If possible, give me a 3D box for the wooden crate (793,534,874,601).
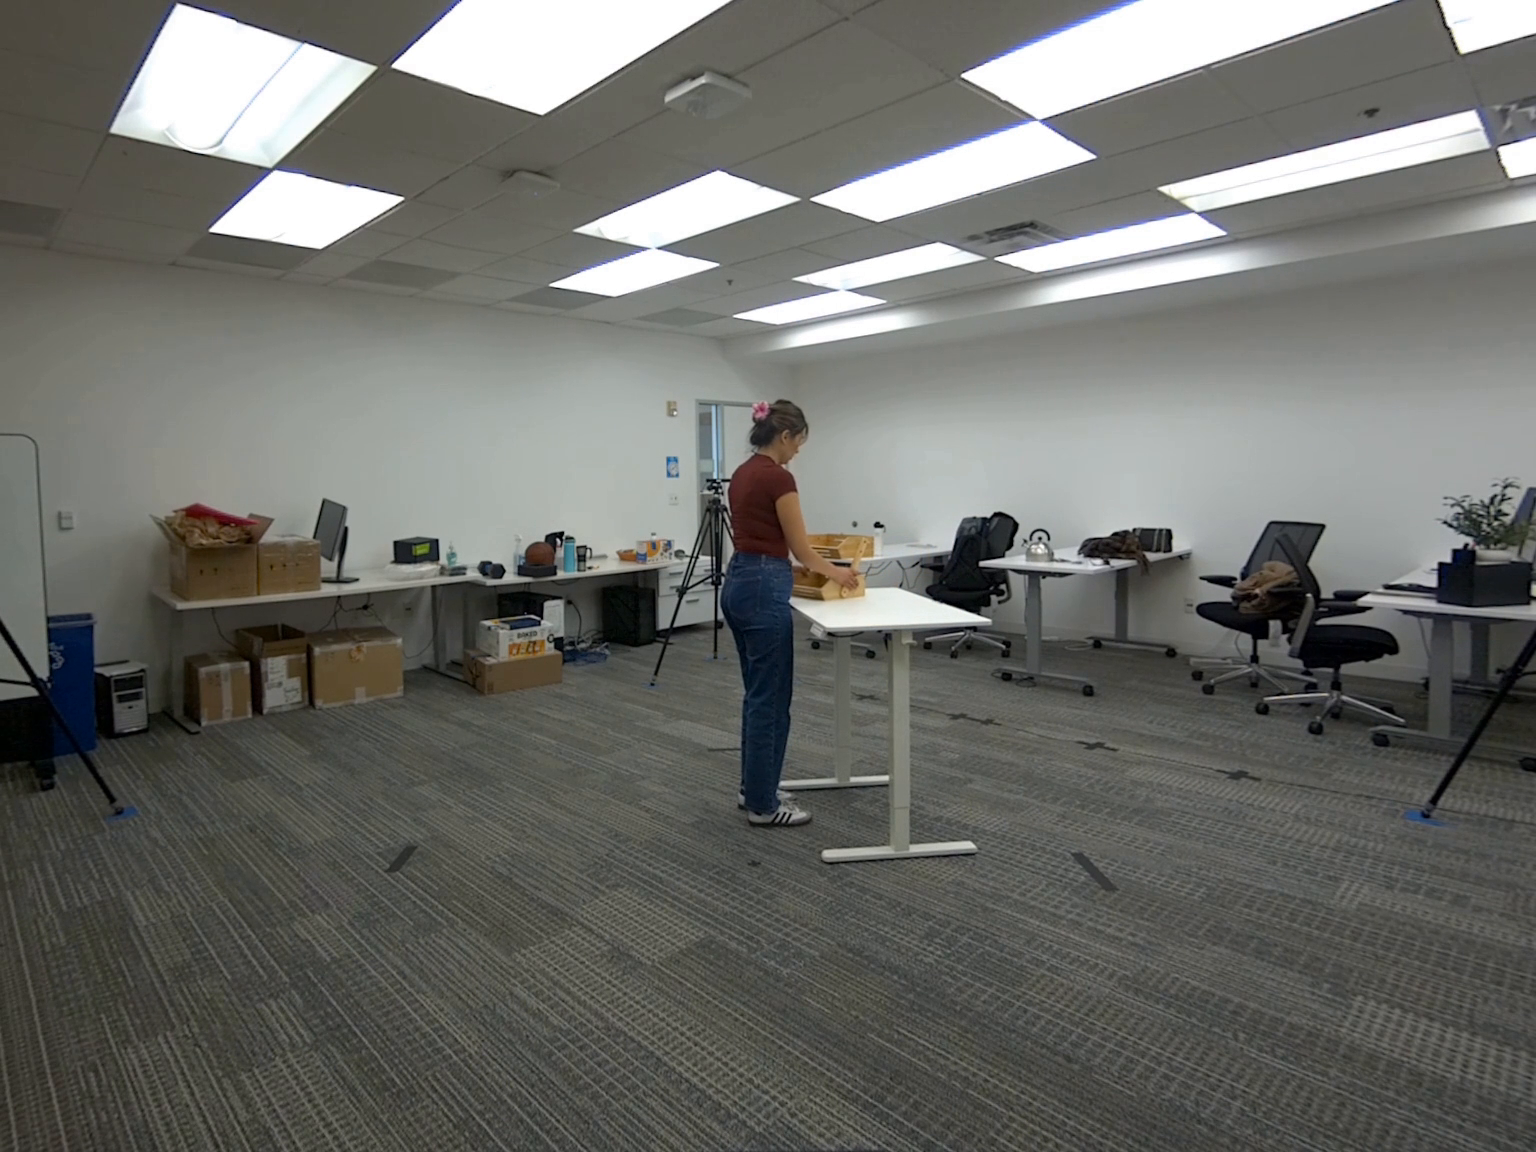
[{"bbox_3d":[0.257,-0.048,3.782,0.294,0.272,0.334,-2,6,-36],"label":"wooden crate"}]
